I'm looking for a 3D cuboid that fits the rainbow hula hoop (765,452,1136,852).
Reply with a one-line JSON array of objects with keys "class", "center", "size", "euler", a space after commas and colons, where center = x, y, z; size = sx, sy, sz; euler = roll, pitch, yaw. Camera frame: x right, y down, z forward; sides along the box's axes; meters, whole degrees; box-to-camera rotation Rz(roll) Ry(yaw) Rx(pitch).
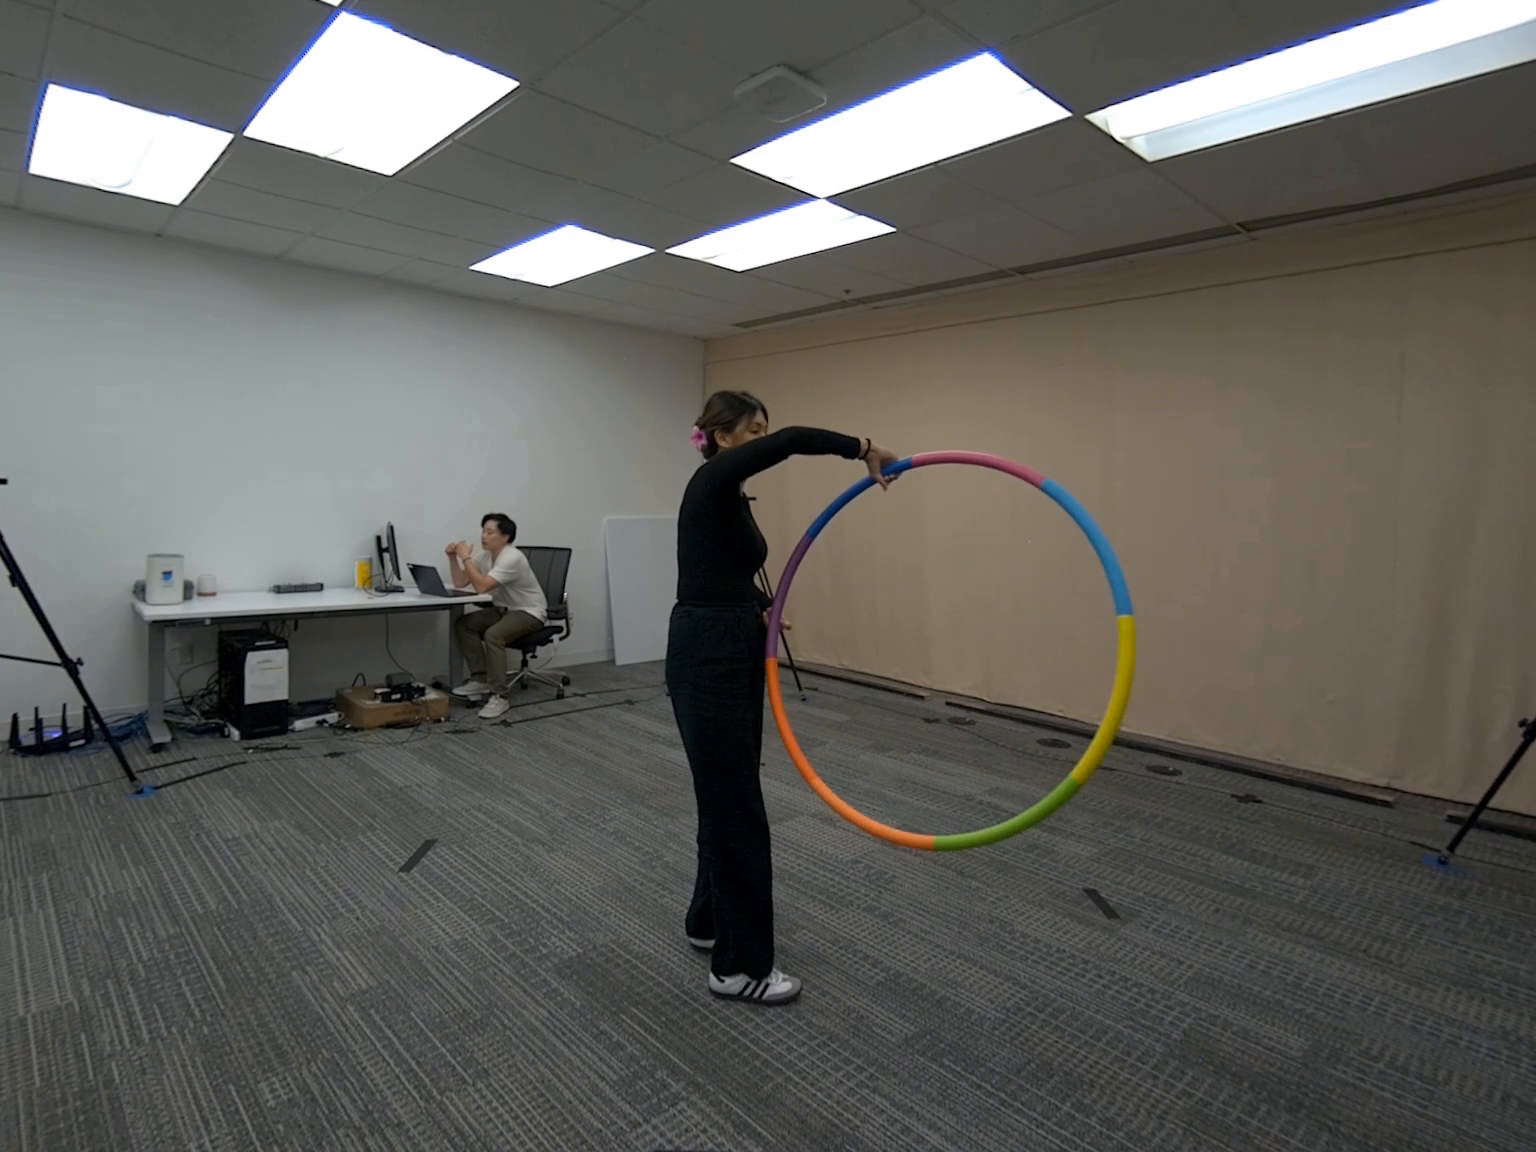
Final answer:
[{"class": "rainbow hula hoop", "center": [0.388, 0.172, 2.100], "size": [1.010, 0.990, 0.050], "euler": [5, -10, 40]}]
